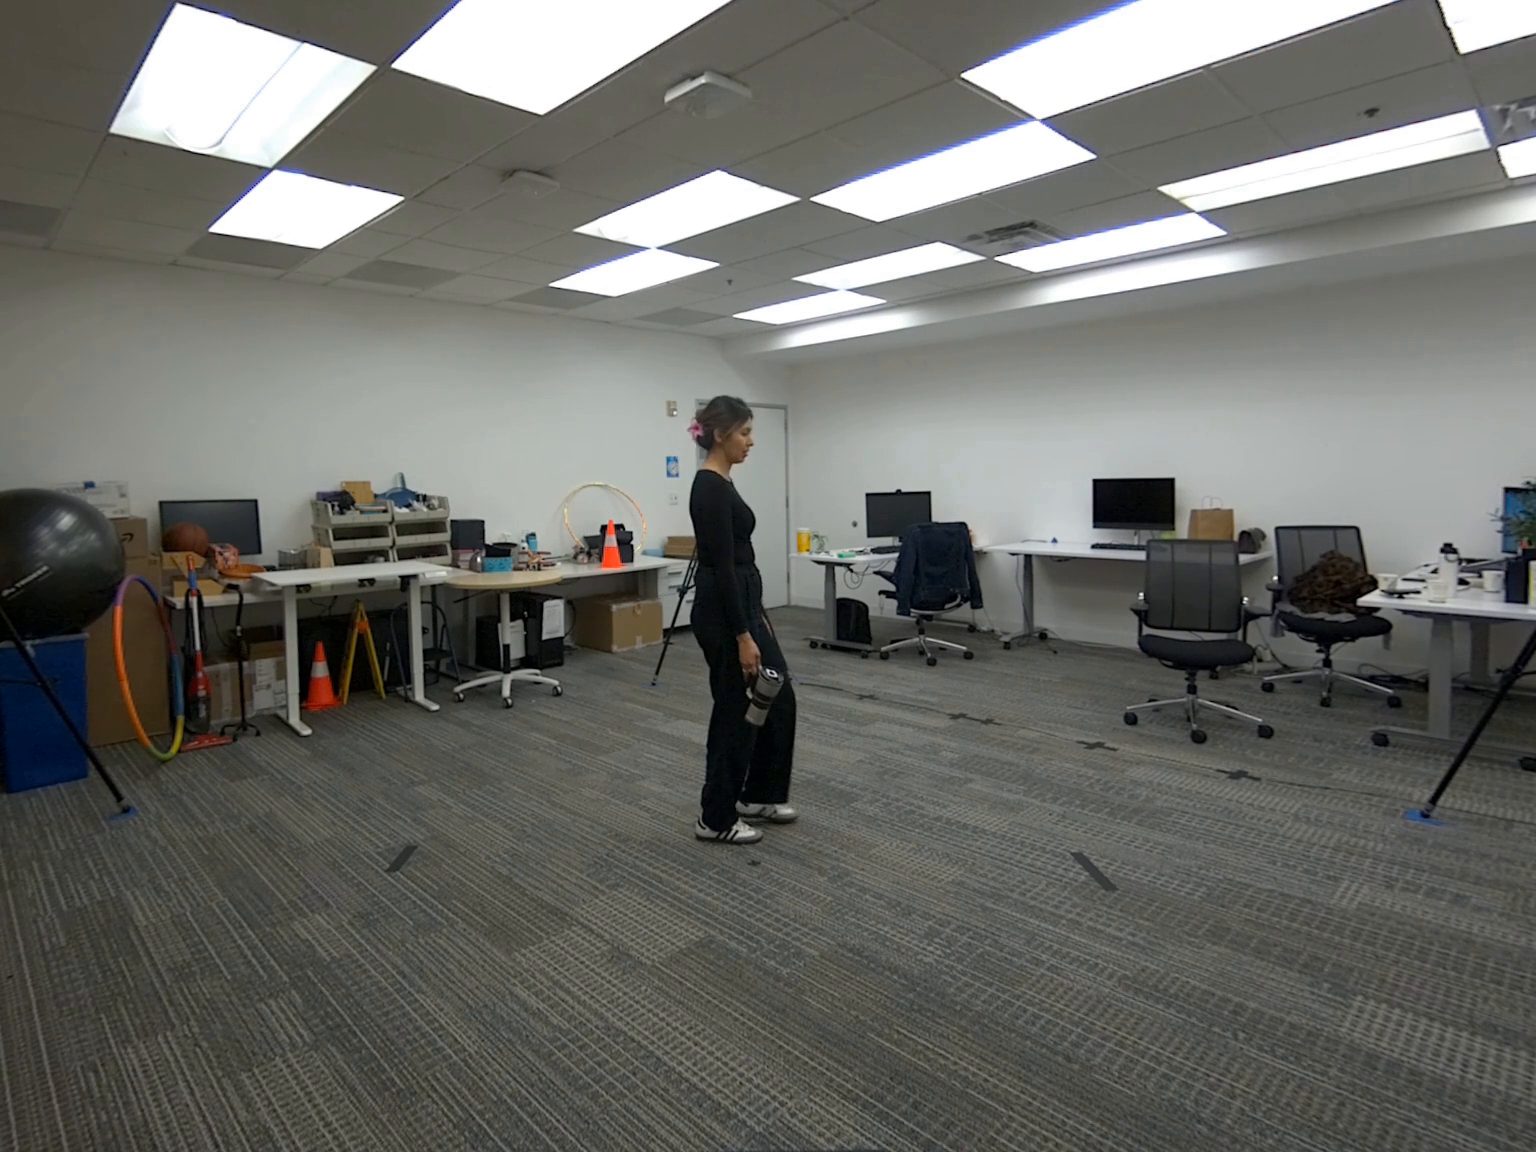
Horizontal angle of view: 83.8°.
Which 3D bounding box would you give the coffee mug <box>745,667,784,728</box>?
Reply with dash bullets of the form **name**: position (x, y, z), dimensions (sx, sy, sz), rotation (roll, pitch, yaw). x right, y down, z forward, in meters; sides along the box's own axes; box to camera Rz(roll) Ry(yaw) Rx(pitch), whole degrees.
- **coffee mug**: position (-0.021, 0.439, 3.045), dimensions (0.091, 0.201, 0.119), rotation (26, 18, 33)
